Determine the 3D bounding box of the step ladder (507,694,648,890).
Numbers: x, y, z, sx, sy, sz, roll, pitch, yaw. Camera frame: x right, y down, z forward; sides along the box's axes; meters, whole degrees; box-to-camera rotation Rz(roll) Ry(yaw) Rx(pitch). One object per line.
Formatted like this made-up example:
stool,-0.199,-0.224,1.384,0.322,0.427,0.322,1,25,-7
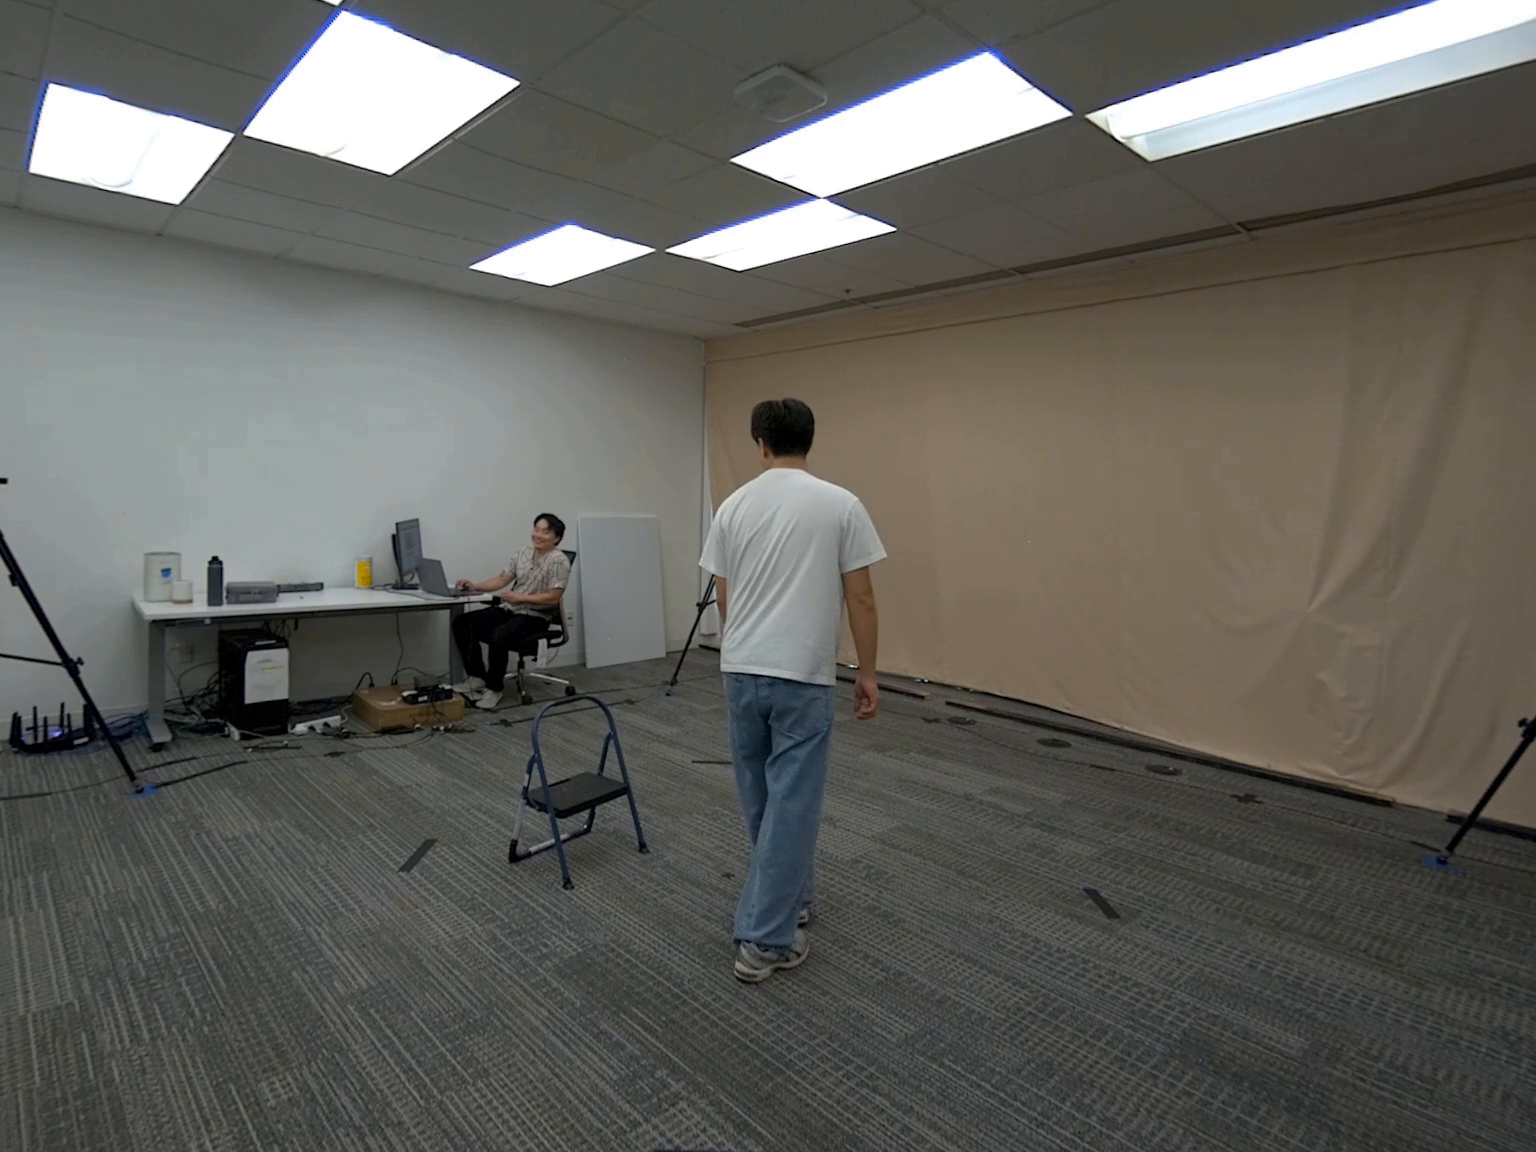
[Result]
step ladder,-0.725,0.779,3.220,0.357,0.604,0.421,4,4,35
